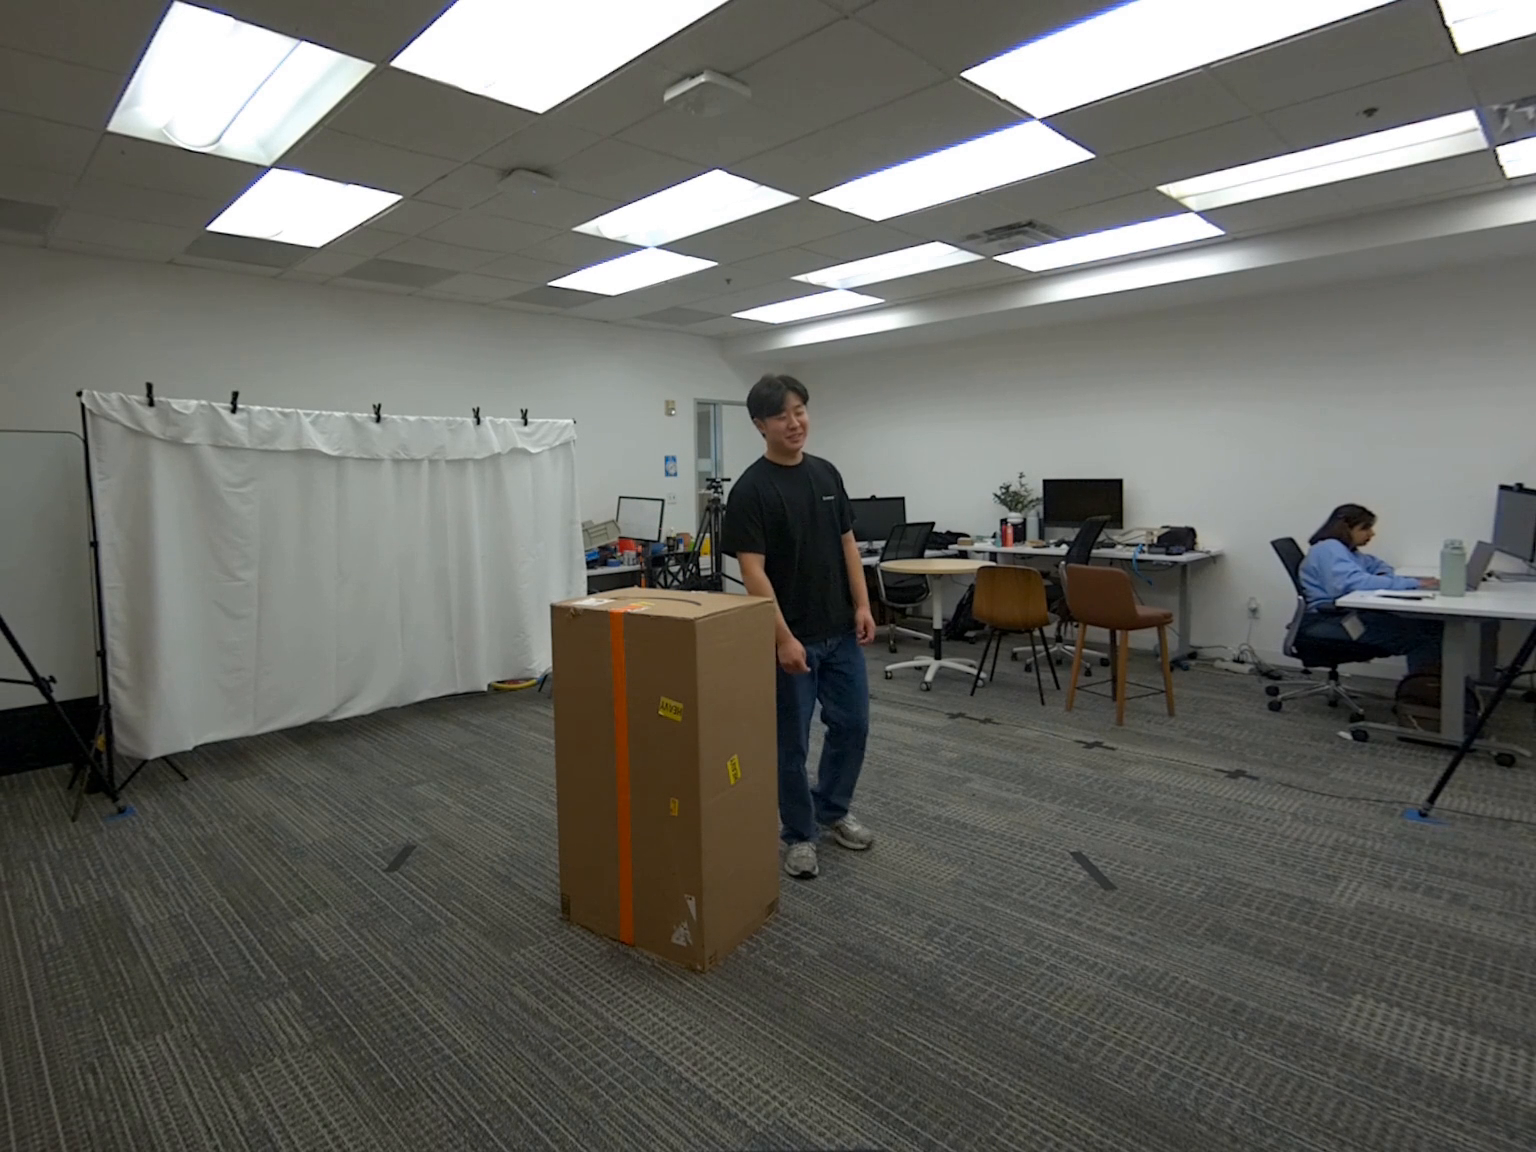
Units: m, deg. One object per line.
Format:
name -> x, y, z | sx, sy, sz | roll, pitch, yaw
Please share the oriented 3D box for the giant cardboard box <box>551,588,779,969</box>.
giant cardboard box -> -0.324, 0.581, 2.712 | 0.600, 1.022, 0.436 | 2, 6, 34
